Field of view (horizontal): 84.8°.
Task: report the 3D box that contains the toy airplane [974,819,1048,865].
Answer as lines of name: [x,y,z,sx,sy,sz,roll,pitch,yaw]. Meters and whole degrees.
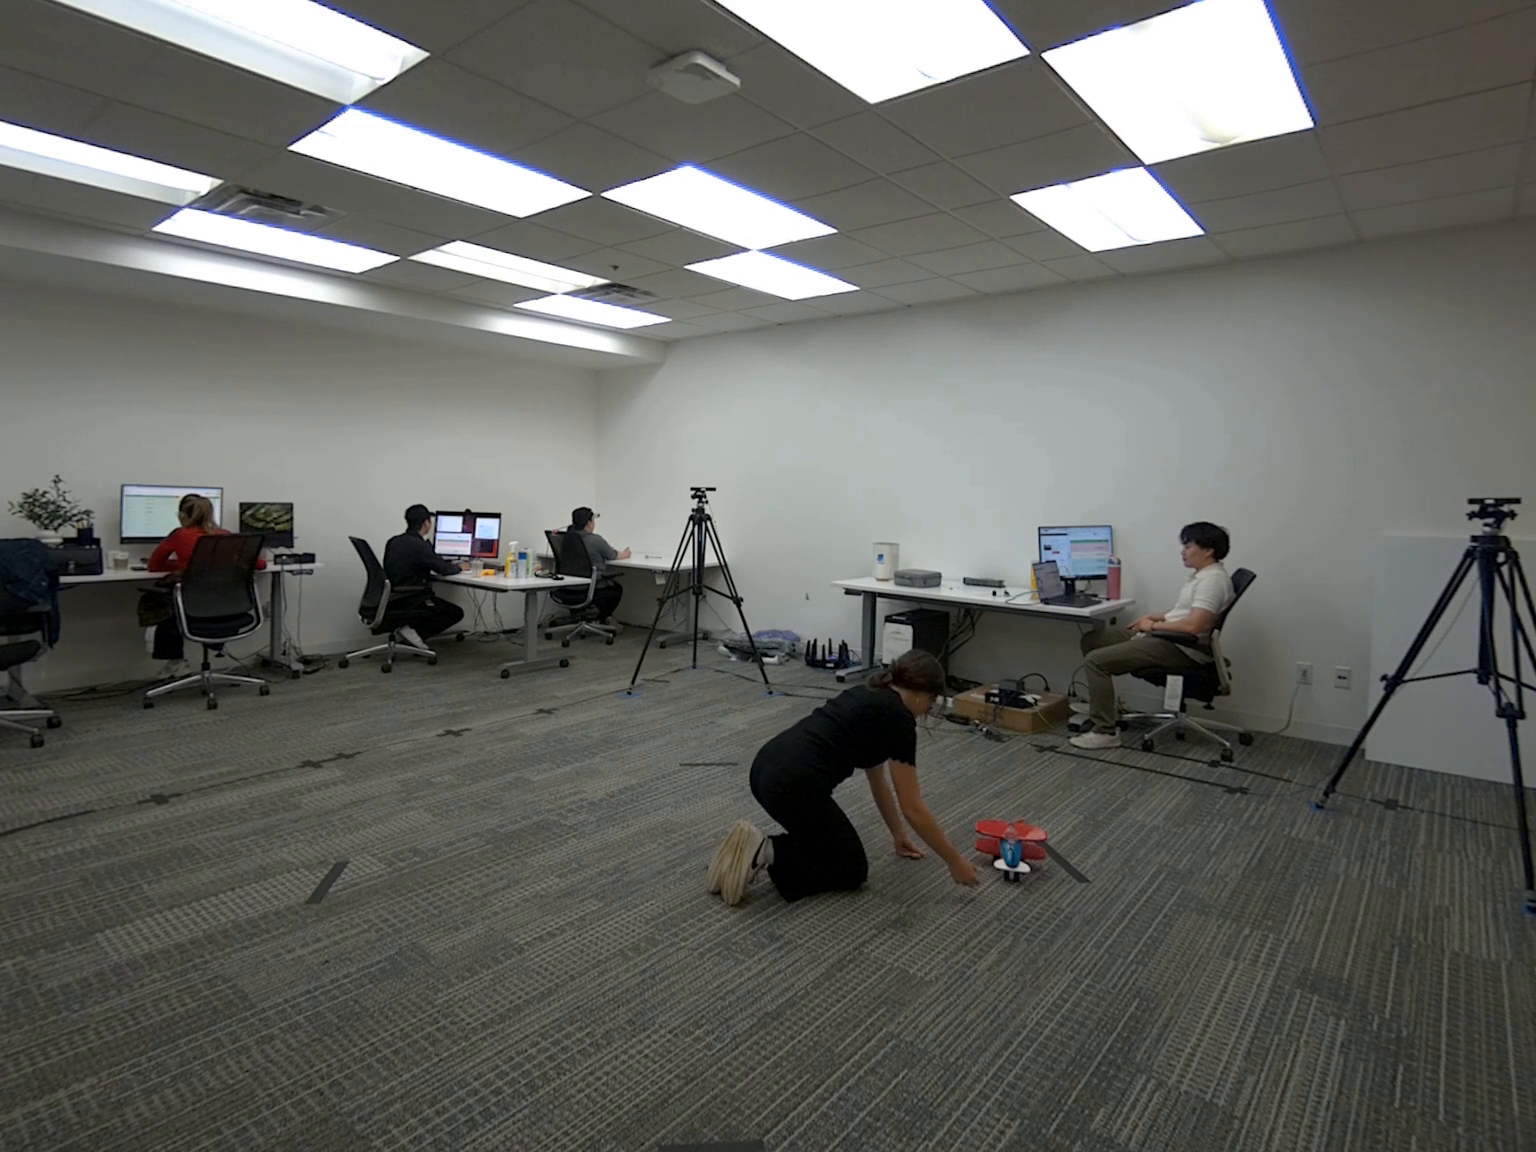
toy airplane: [0.918,1.022,3.155,0.248,0.156,0.264,0,4,-14]
